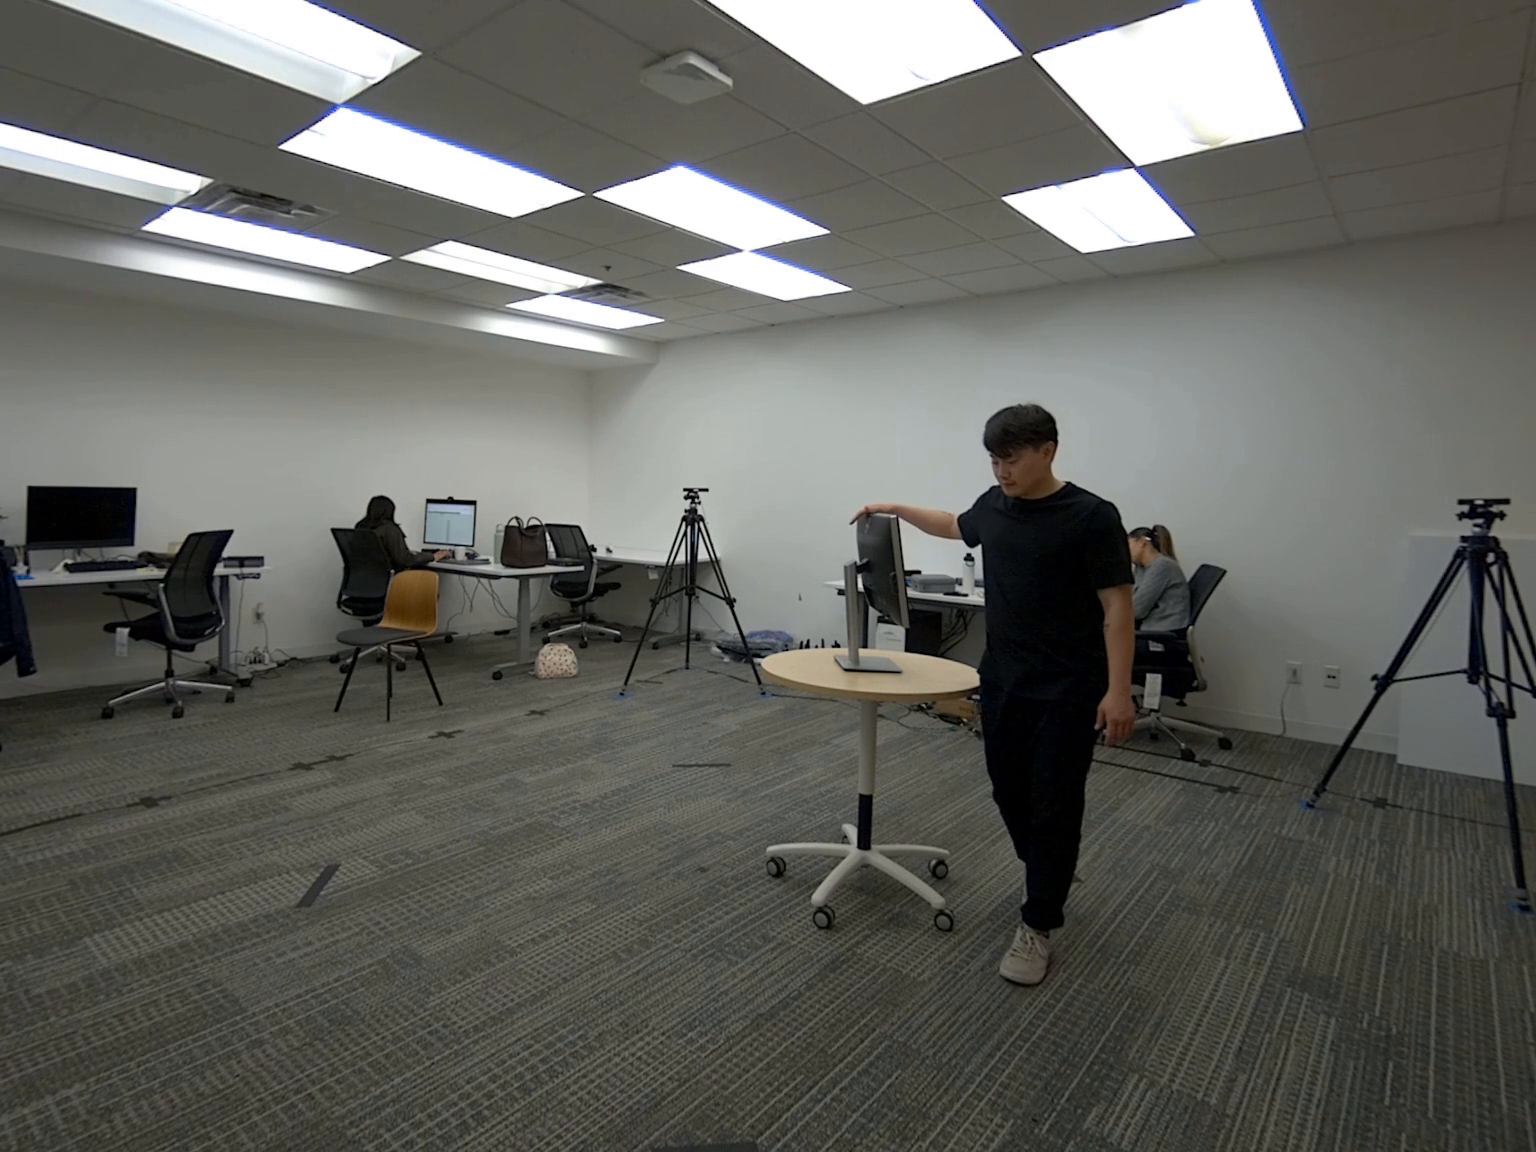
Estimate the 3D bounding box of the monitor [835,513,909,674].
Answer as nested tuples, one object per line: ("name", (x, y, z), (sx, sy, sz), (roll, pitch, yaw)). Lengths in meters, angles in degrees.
("monitor", (0.348, 0.052, 2.994), (0.186, 0.521, 0.544), (3, 4, -7))
